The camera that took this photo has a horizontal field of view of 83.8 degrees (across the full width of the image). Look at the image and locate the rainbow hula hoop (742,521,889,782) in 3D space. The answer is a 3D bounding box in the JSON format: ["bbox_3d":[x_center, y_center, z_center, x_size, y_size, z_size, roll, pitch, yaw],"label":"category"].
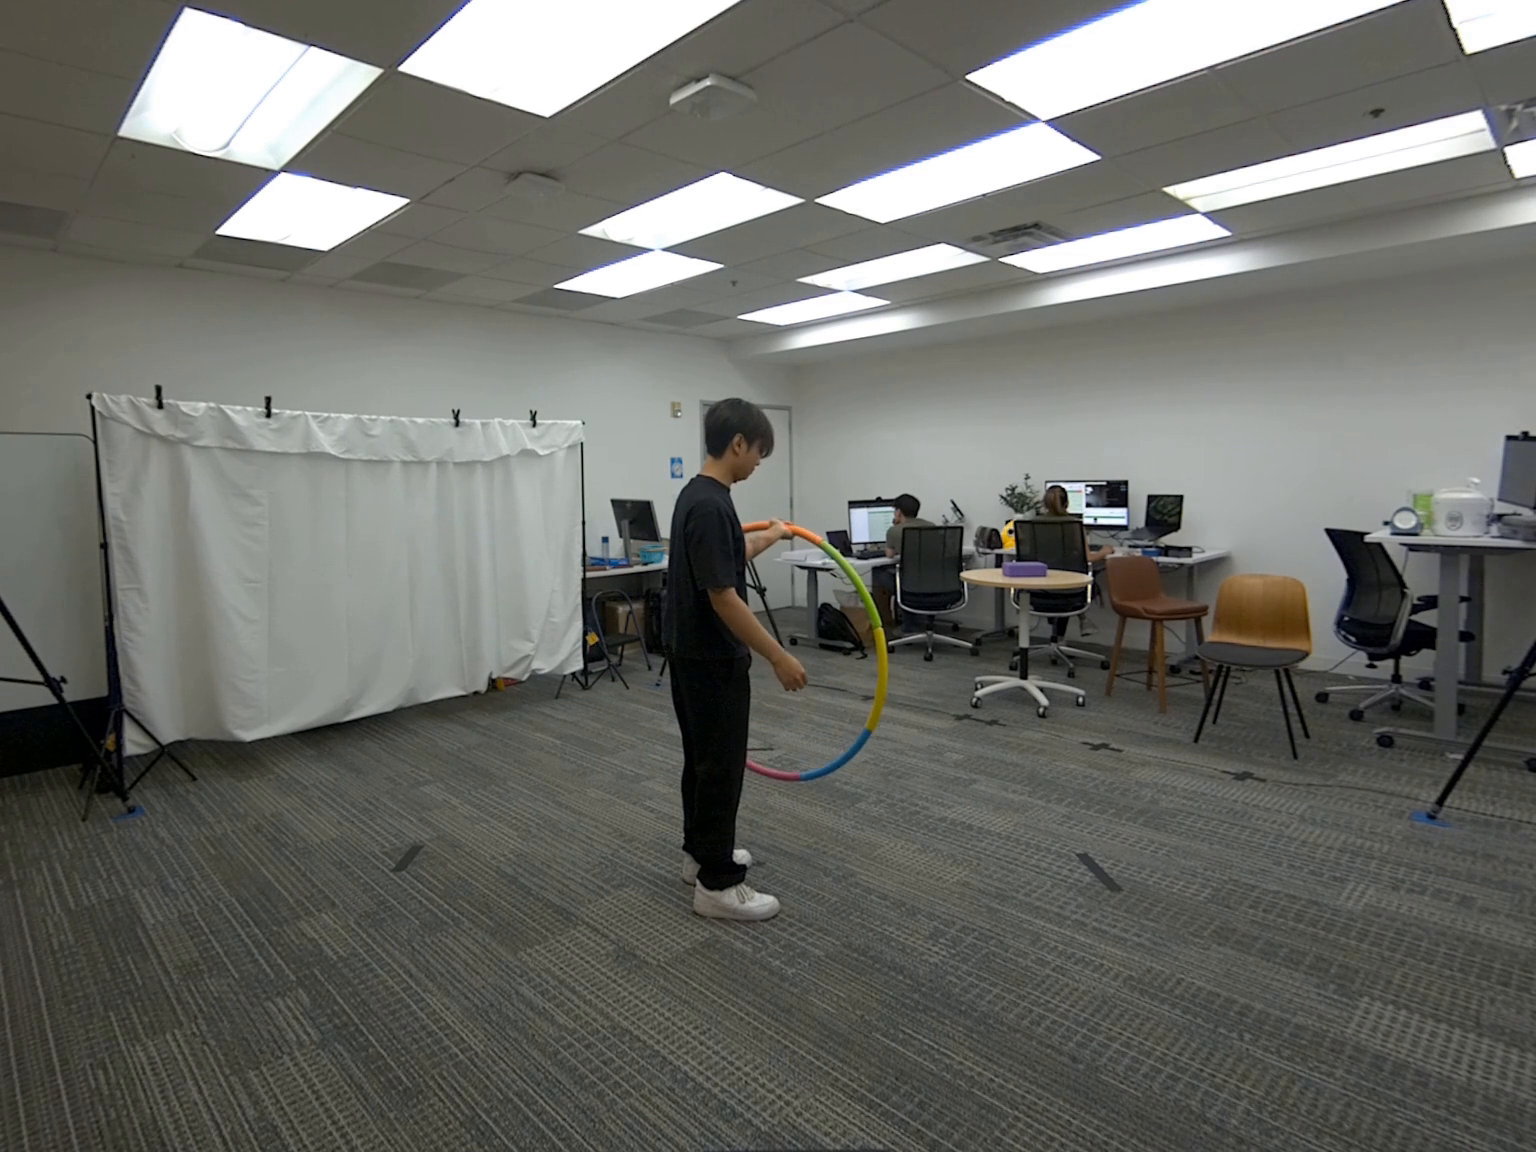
[{"bbox_3d":[0.019,0.287,3.286,1.007,0.976,0.034,3,4,38],"label":"rainbow hula hoop"}]
